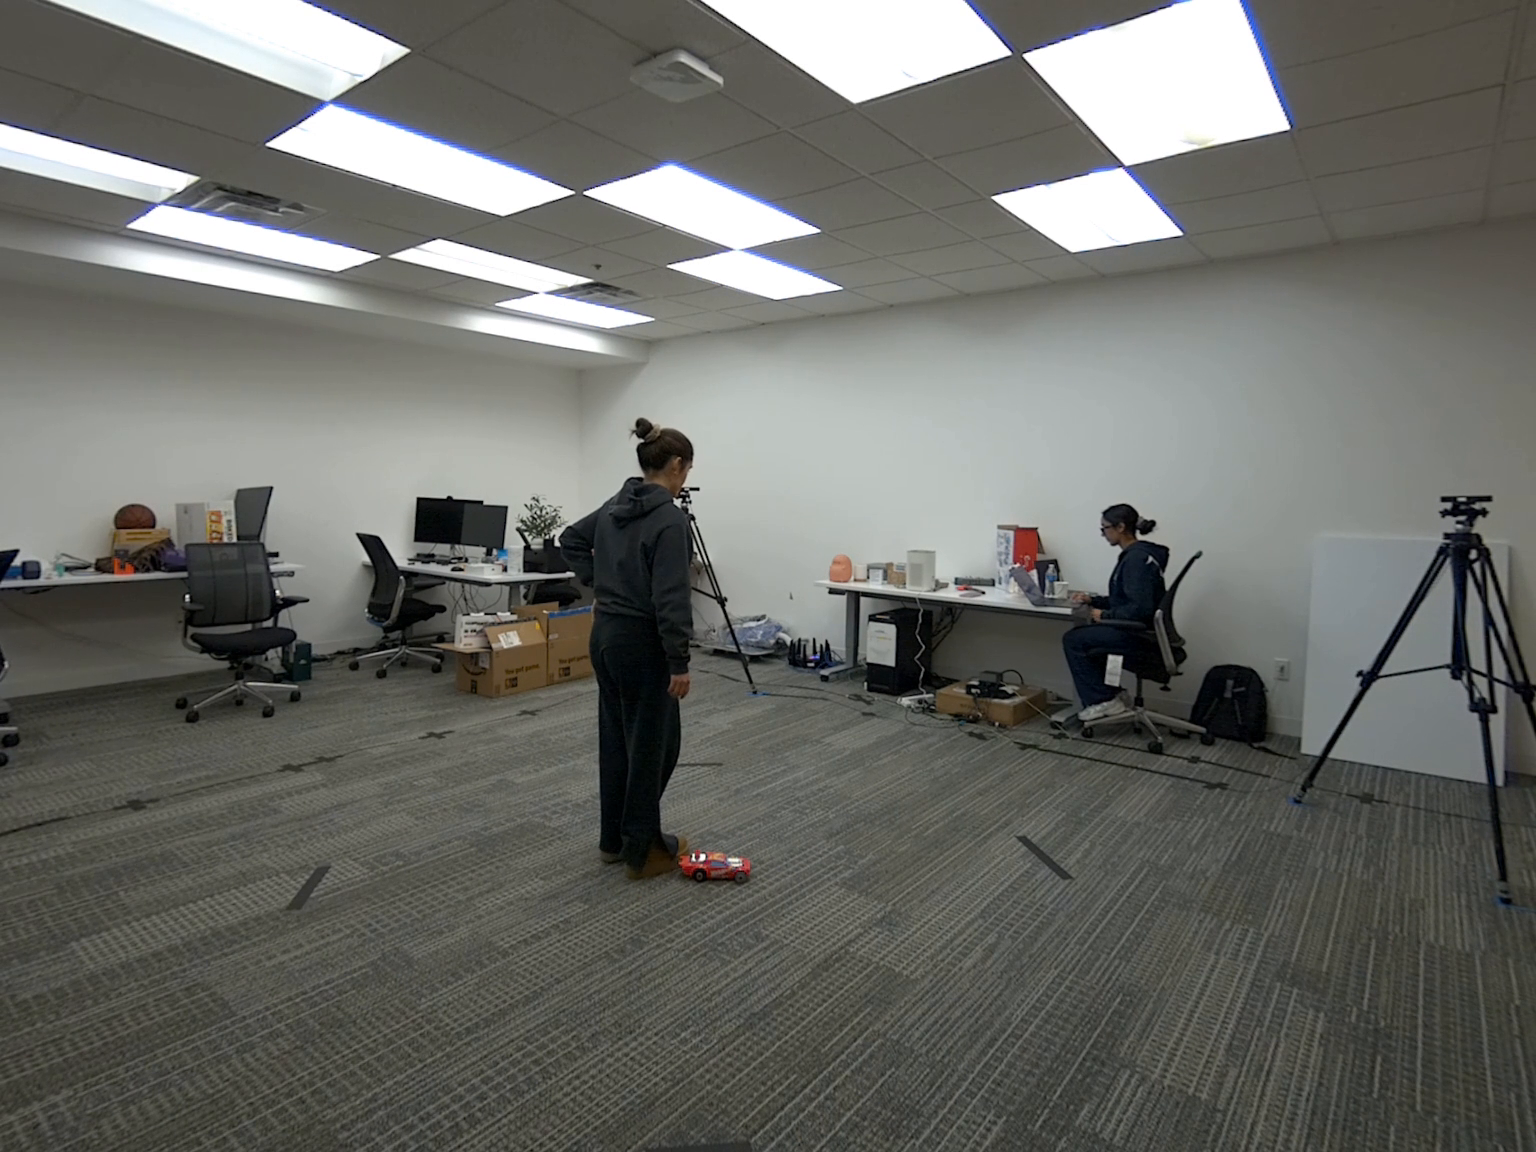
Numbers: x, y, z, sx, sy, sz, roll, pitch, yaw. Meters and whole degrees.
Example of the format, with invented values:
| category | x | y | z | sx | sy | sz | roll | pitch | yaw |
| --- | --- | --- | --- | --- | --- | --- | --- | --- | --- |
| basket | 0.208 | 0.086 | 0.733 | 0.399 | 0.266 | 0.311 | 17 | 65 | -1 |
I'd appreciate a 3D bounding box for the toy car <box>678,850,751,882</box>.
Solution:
| category | x | y | z | sx | sy | sz | roll | pitch | yaw |
| --- | --- | --- | --- | --- | --- | --- | --- | --- | --- |
| toy car | -0.194 | 1.048 | 3.046 | 0.254 | 0.083 | 0.131 | 13 | 3 | -3 |
